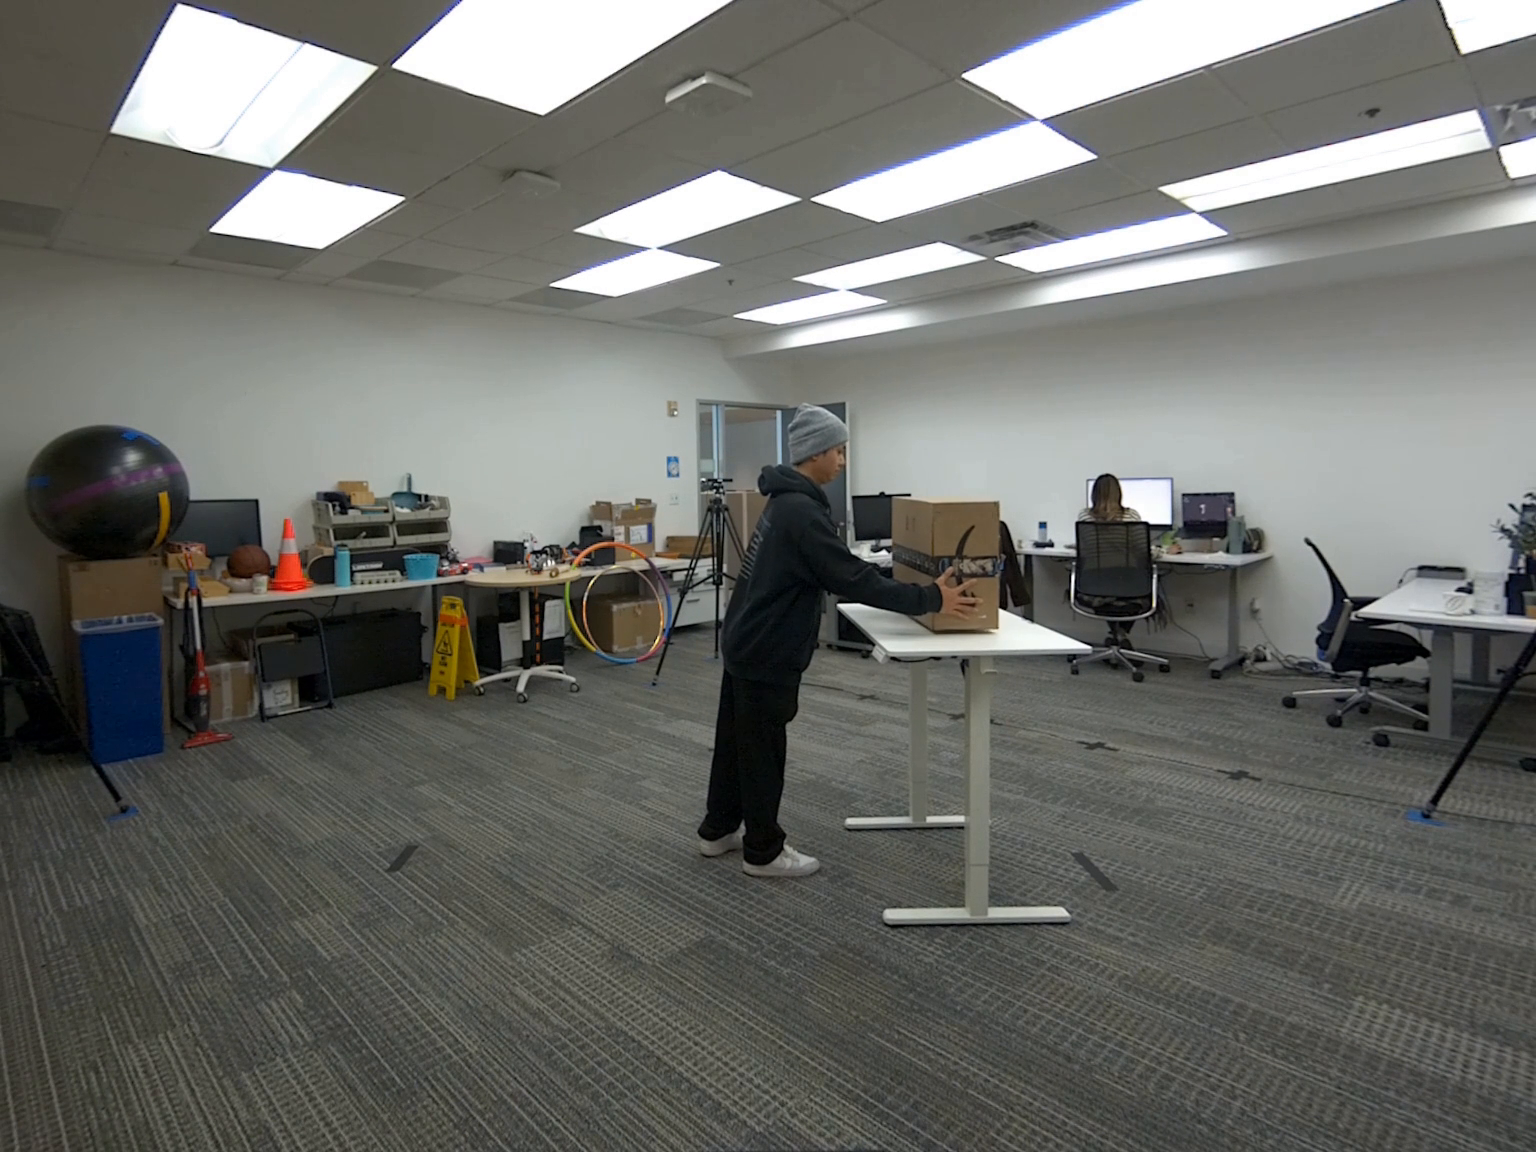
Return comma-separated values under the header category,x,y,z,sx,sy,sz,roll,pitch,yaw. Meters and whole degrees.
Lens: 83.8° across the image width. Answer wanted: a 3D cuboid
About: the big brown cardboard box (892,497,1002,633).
category,x,y,z,sx,sy,sz,roll,pitch,yaw
big brown cardboard box,0.612,-0.066,3.009,0.232,0.415,0.594,-1,7,-5
